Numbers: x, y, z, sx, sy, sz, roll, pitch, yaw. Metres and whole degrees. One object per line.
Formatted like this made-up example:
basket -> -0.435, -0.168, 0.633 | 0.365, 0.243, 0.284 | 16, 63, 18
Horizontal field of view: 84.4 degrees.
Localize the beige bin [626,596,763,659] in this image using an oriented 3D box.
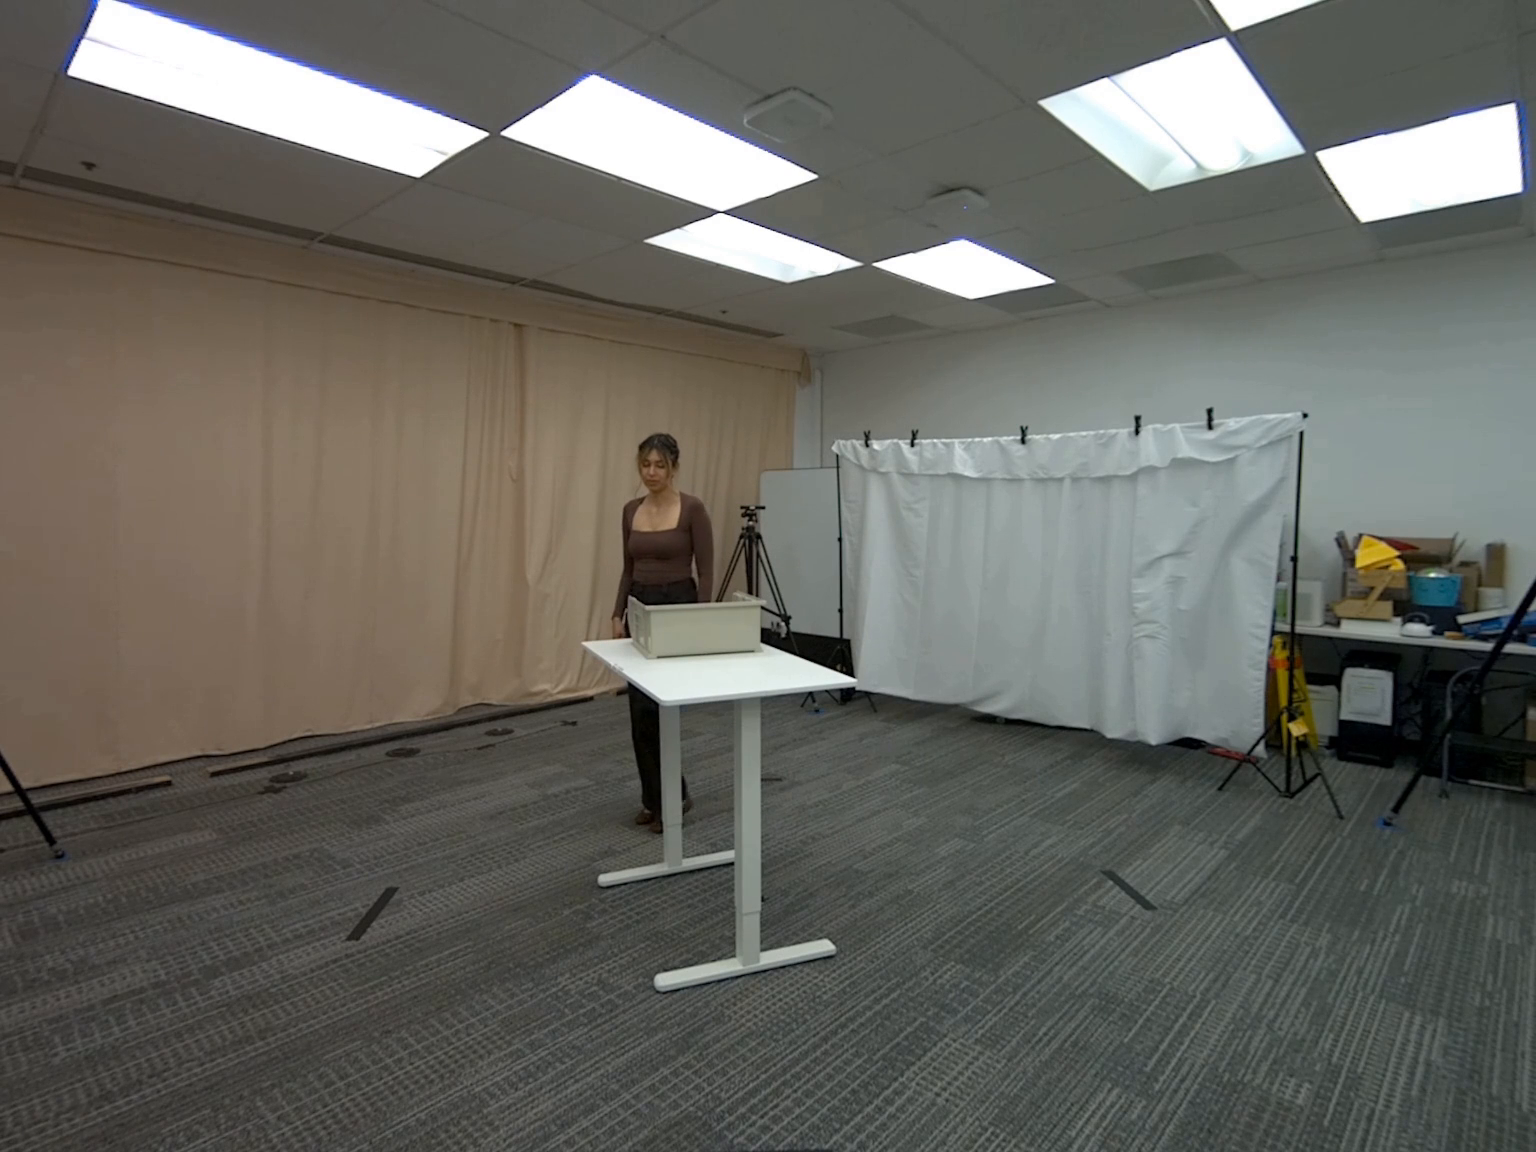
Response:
beige bin -> -0.266, 0.170, 3.021 | 0.414, 0.188, 0.386 | -2, 6, -19
